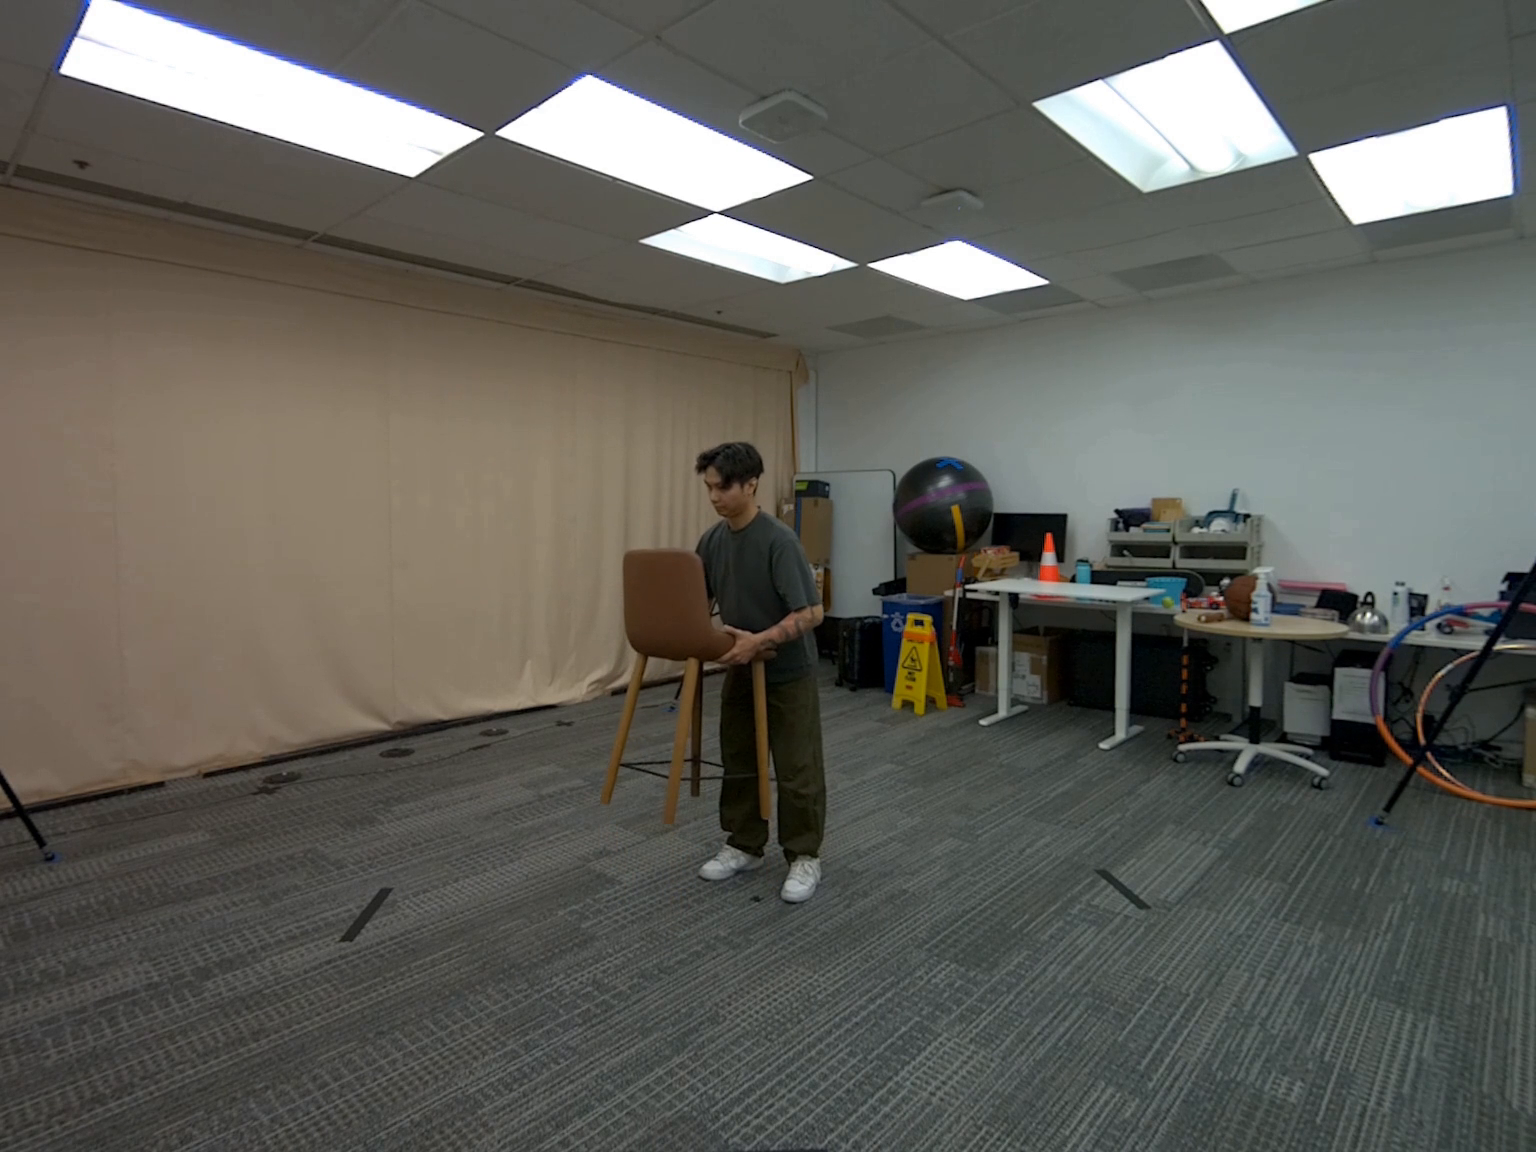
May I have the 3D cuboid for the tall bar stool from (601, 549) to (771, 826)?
[{"bbox_3d":[-0.261,0.379,2.939,0.452,0.892,0.471,8,-7,-44],"label":"tall bar stool"}]
